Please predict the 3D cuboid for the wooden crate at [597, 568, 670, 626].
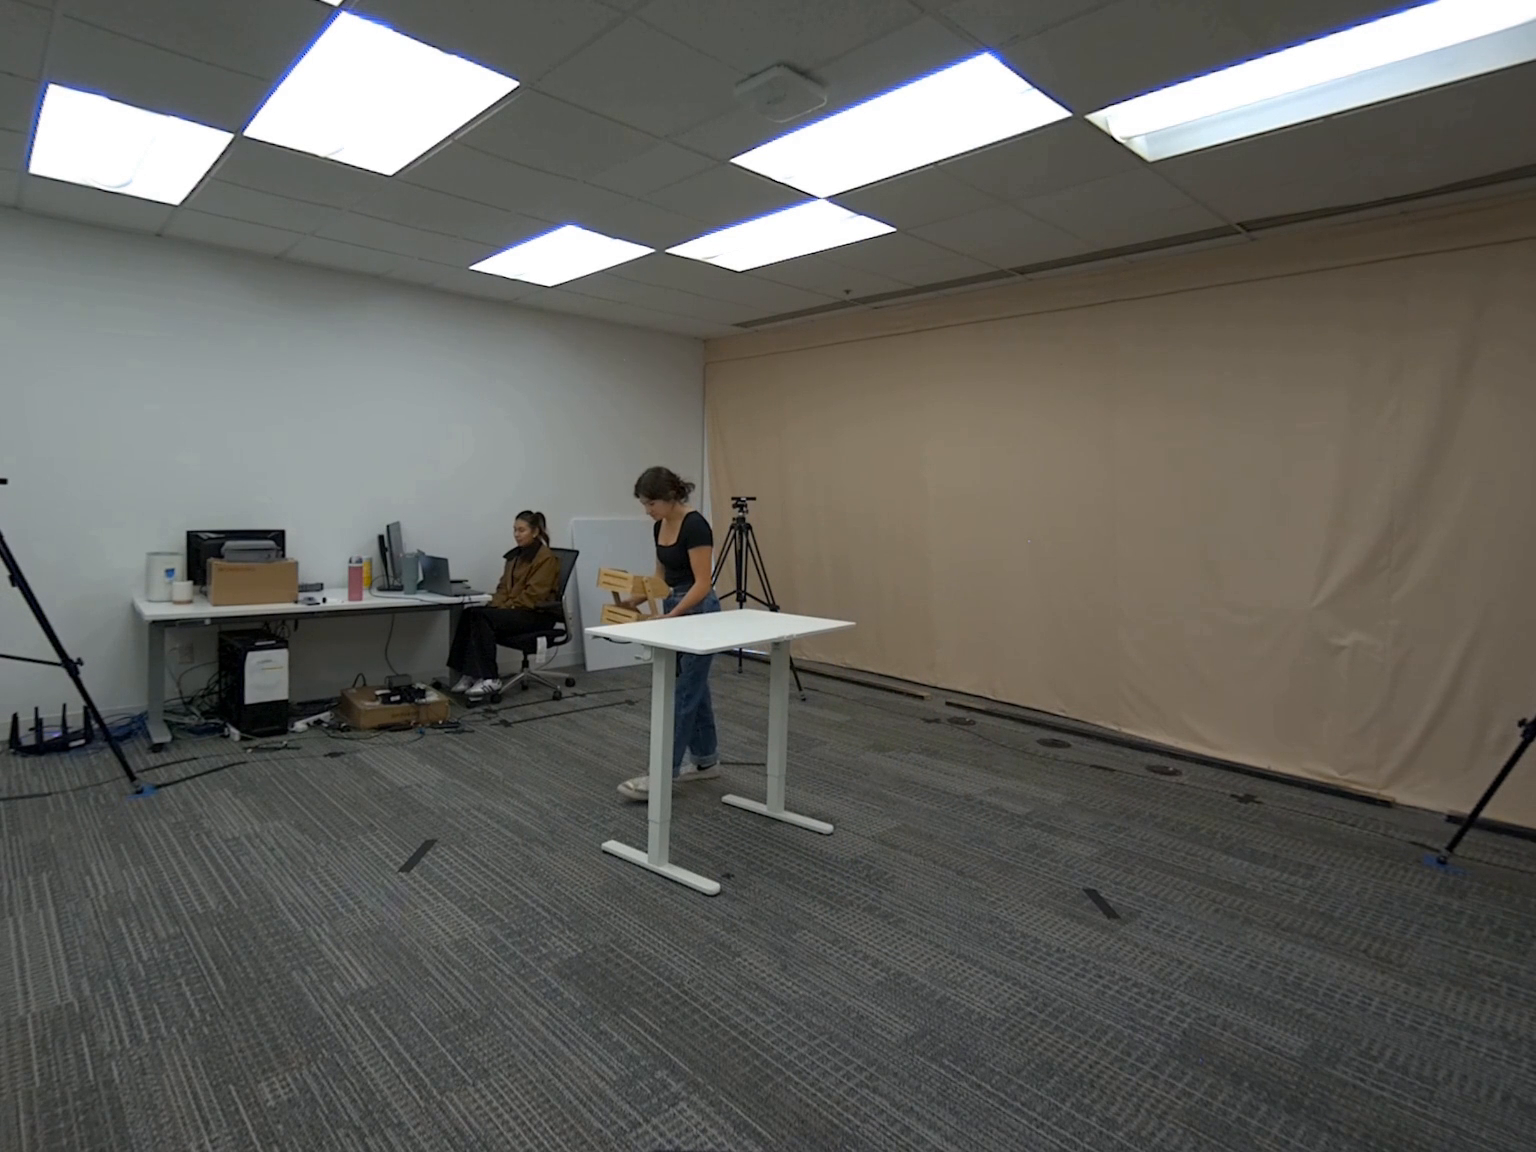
[{"bbox_3d":[-0.609,0.113,3.920,0.294,0.273,0.333,7,1,-41],"label":"wooden crate"}]
